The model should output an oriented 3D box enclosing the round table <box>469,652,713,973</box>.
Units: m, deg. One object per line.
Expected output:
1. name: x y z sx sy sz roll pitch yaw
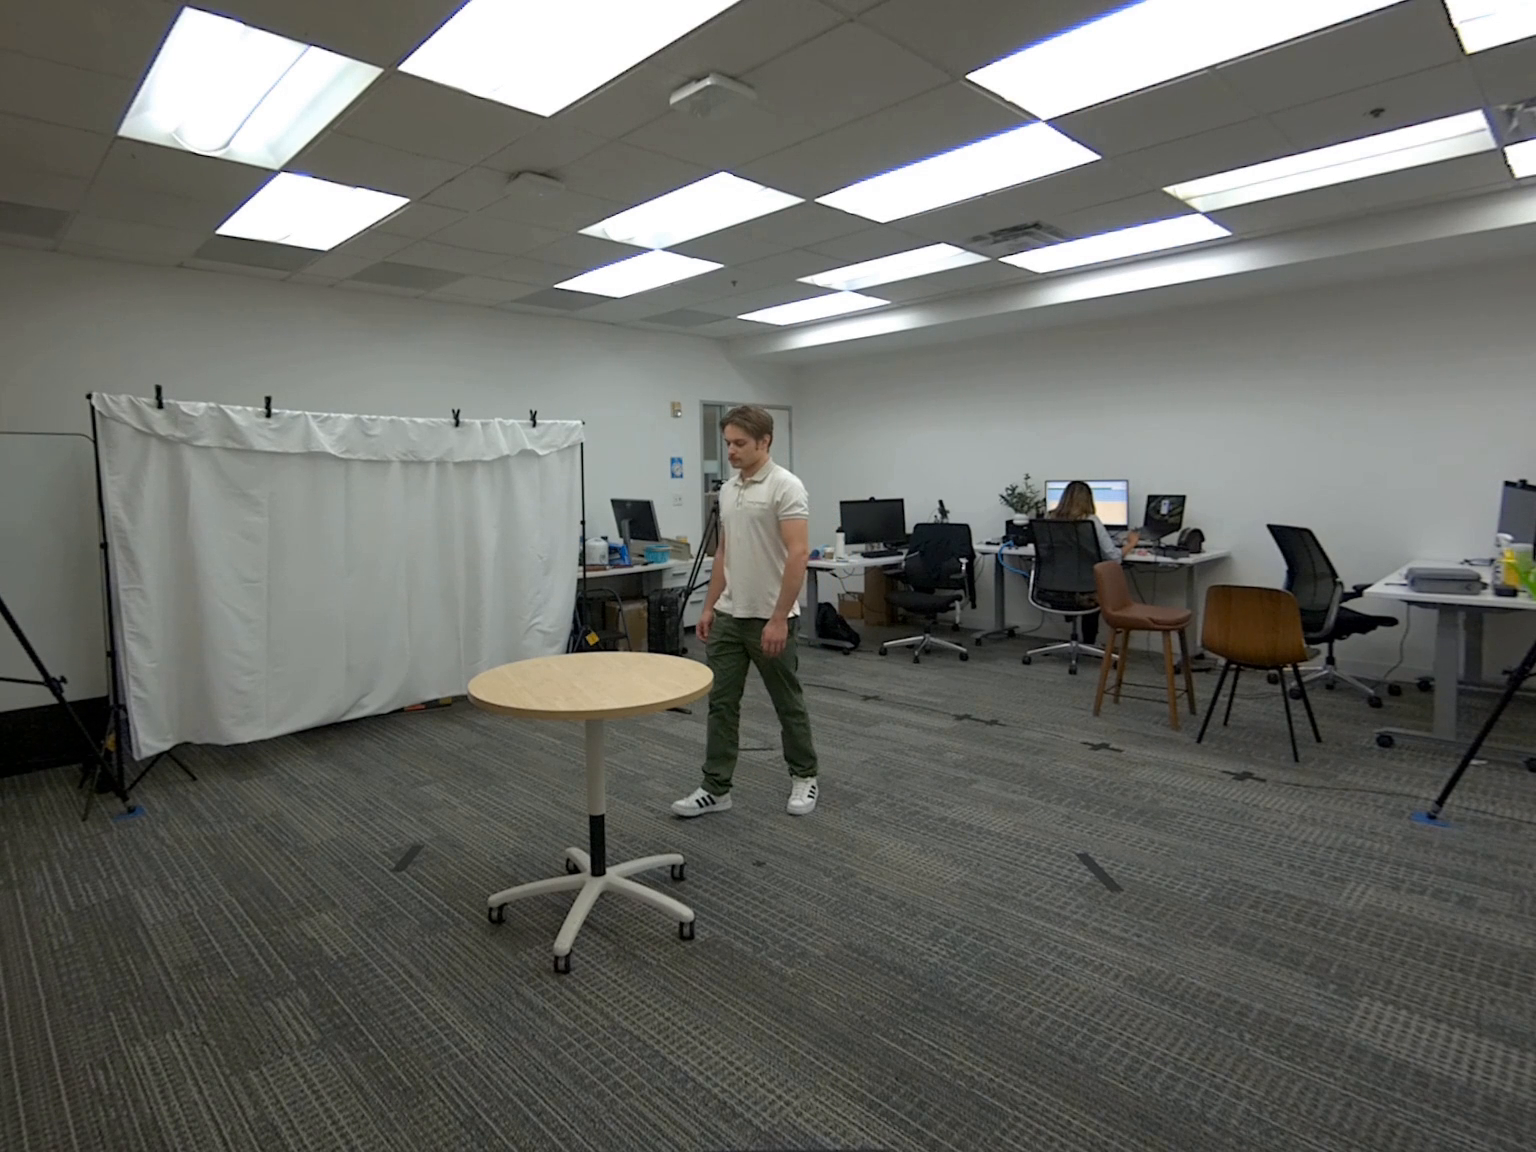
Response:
1. round table: -0.546 0.706 2.752 0.784 0.783 0.790 -1 6 -2
